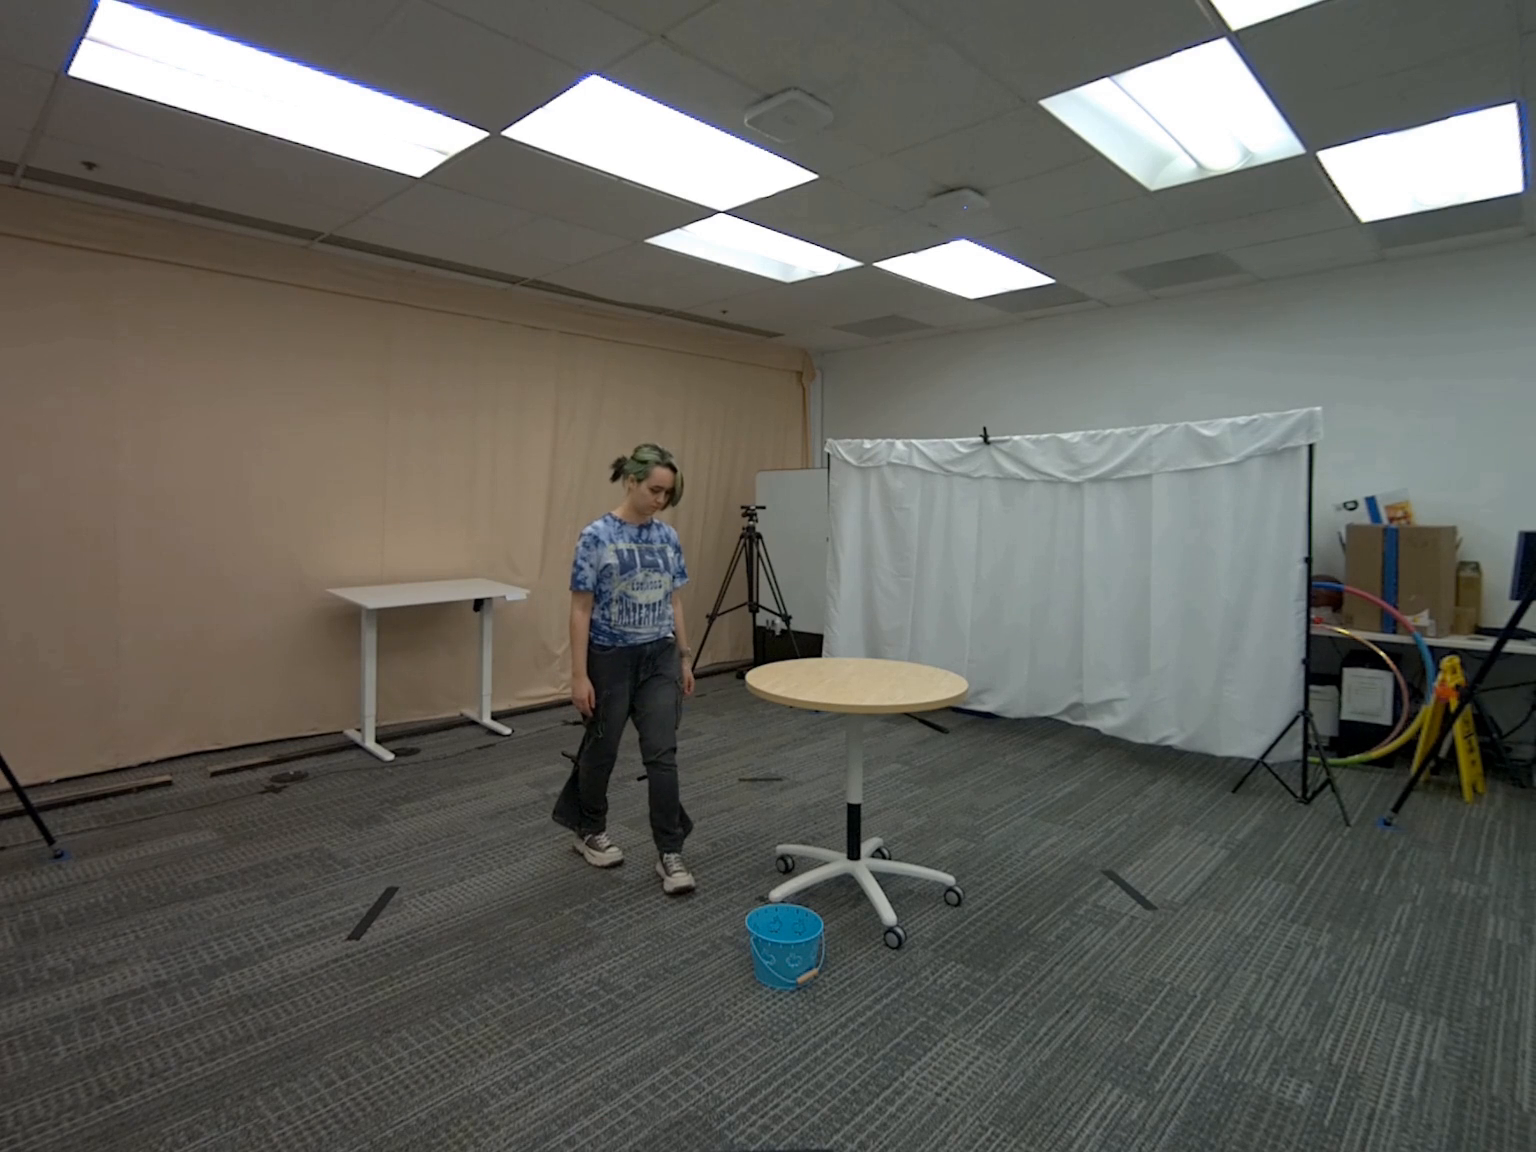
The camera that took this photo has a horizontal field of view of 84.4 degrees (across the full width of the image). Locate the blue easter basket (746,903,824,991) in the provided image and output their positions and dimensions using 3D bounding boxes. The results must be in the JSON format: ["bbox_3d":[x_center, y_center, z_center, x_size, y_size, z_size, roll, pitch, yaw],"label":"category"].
[{"bbox_3d":[0.051,1.106,2.501,0.243,0.155,0.244,0,4,-2],"label":"blue easter basket"}]
